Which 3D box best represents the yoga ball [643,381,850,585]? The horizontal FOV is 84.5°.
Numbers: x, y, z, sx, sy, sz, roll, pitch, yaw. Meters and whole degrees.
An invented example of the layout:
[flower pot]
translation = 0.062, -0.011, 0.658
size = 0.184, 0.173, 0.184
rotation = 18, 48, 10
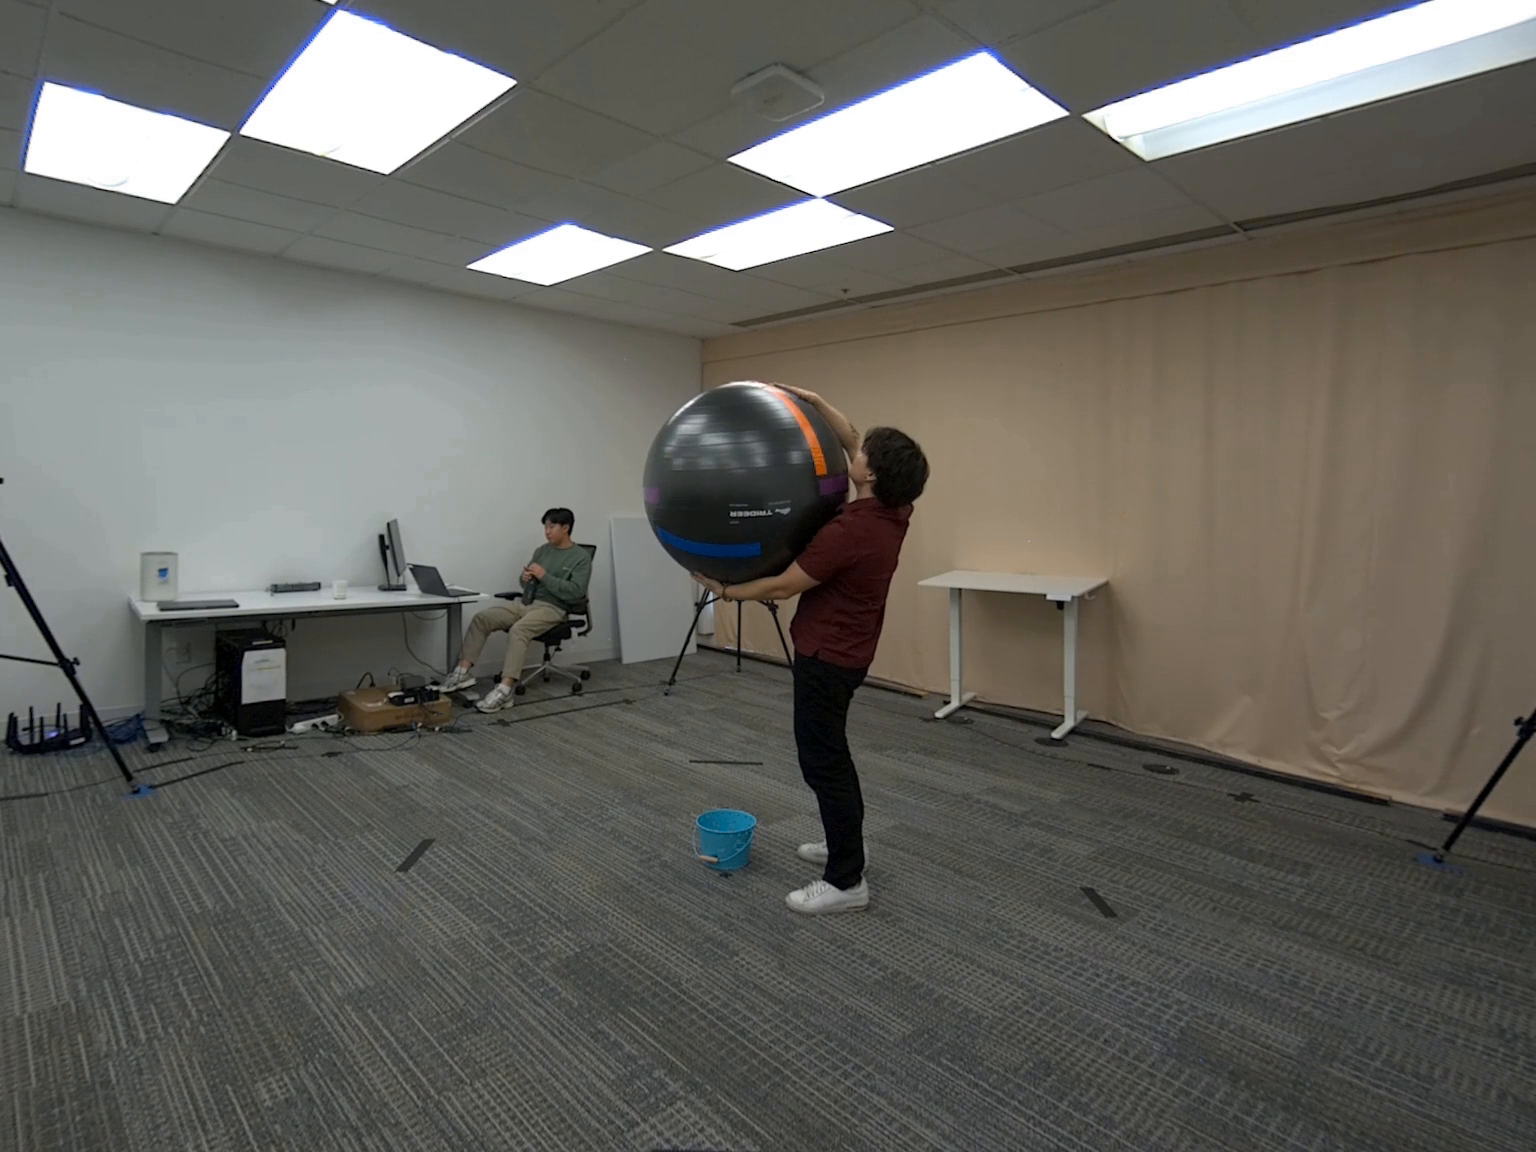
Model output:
[yoga ball]
translation = -0.093, -0.327, 3.101
size = 0.757, 0.756, 0.761
rotation = 1, 4, -1
